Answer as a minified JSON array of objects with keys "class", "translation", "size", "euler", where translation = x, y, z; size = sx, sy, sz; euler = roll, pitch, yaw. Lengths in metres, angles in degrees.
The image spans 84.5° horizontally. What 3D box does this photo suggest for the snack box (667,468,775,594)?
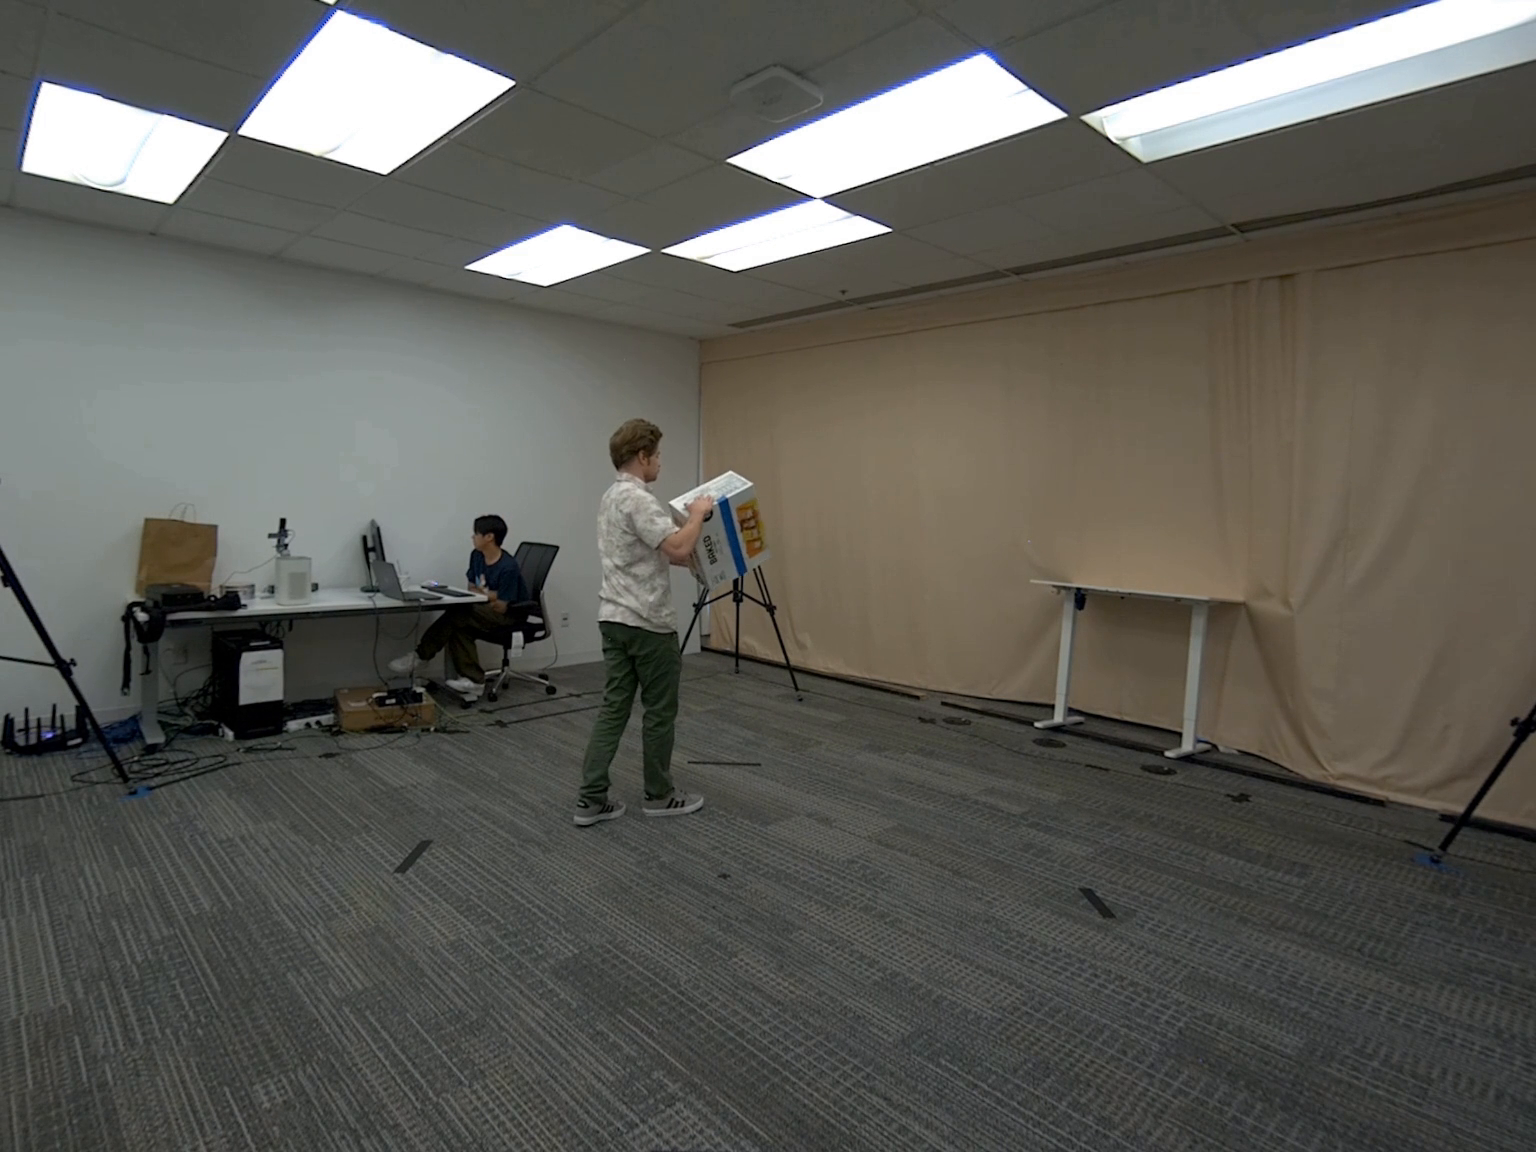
[{"class":"snack box","translation":[-0.209,-0.206,3.797],"size":[0.338,0.395,0.212],"euler":[-29,35,-20]}]
